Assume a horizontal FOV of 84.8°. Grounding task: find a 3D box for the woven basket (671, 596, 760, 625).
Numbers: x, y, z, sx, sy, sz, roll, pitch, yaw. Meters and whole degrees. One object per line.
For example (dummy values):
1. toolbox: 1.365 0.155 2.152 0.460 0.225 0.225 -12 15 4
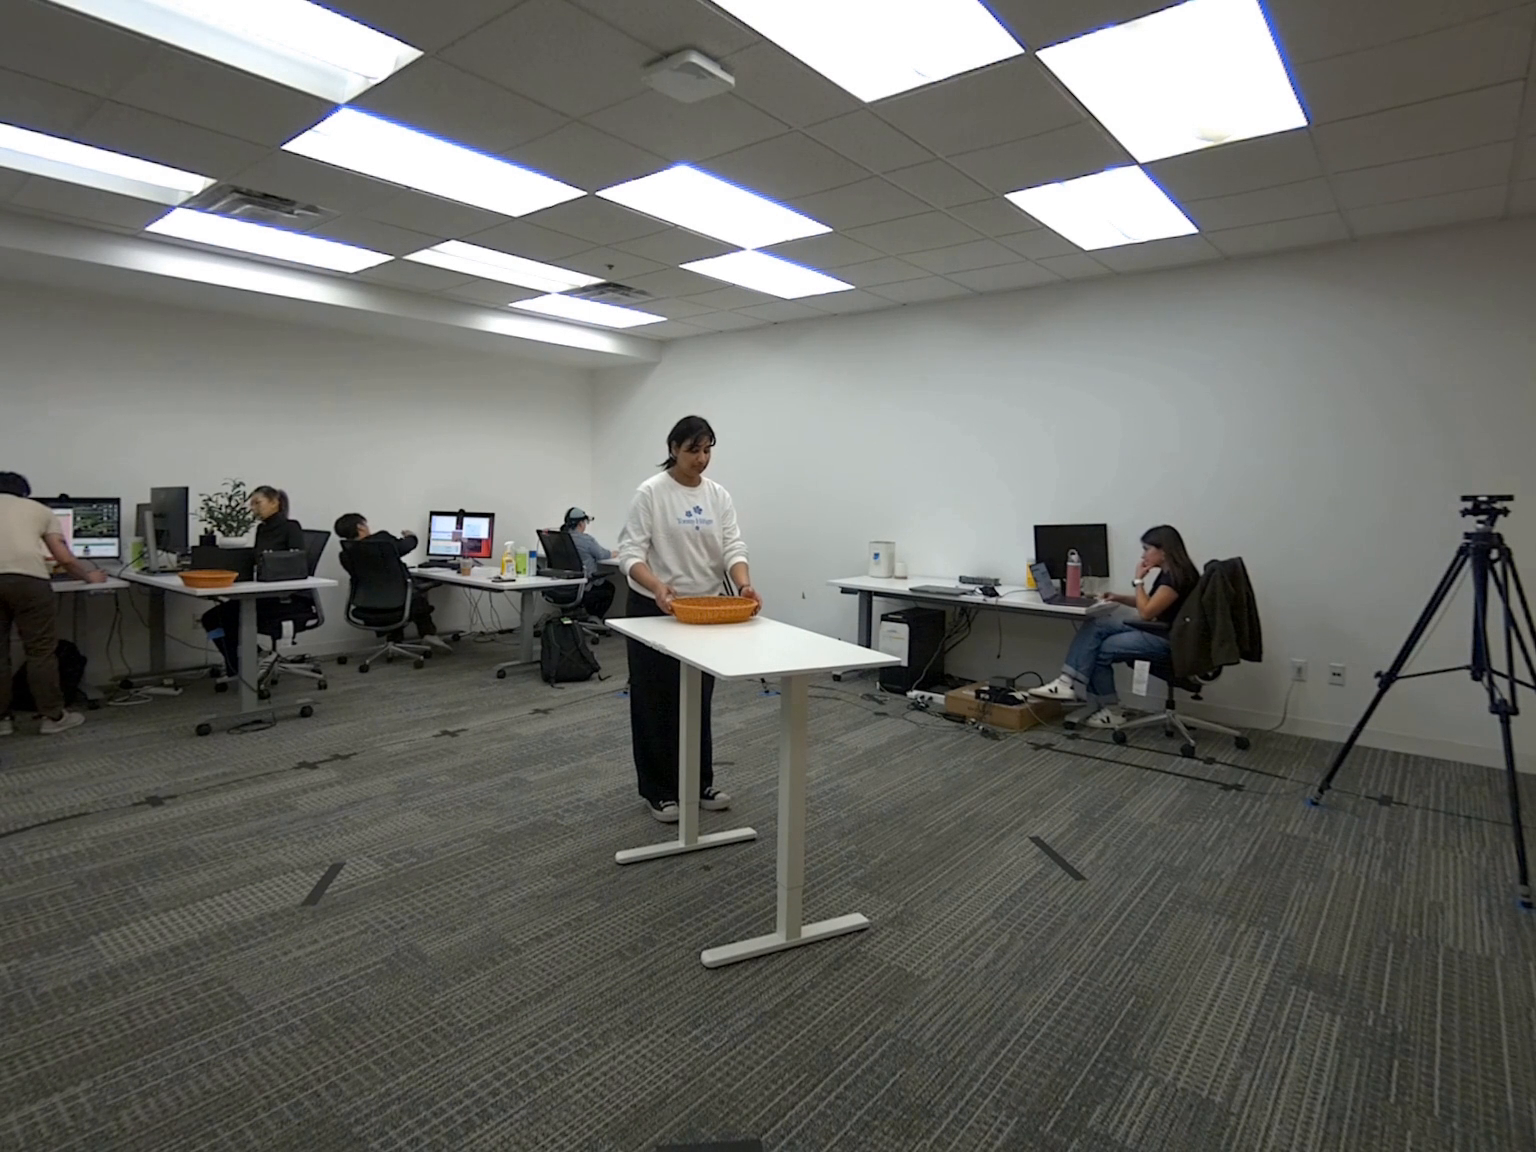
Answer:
1. woven basket: -0.215 0.129 3.236 0.346 0.073 0.257 0 9 -12
